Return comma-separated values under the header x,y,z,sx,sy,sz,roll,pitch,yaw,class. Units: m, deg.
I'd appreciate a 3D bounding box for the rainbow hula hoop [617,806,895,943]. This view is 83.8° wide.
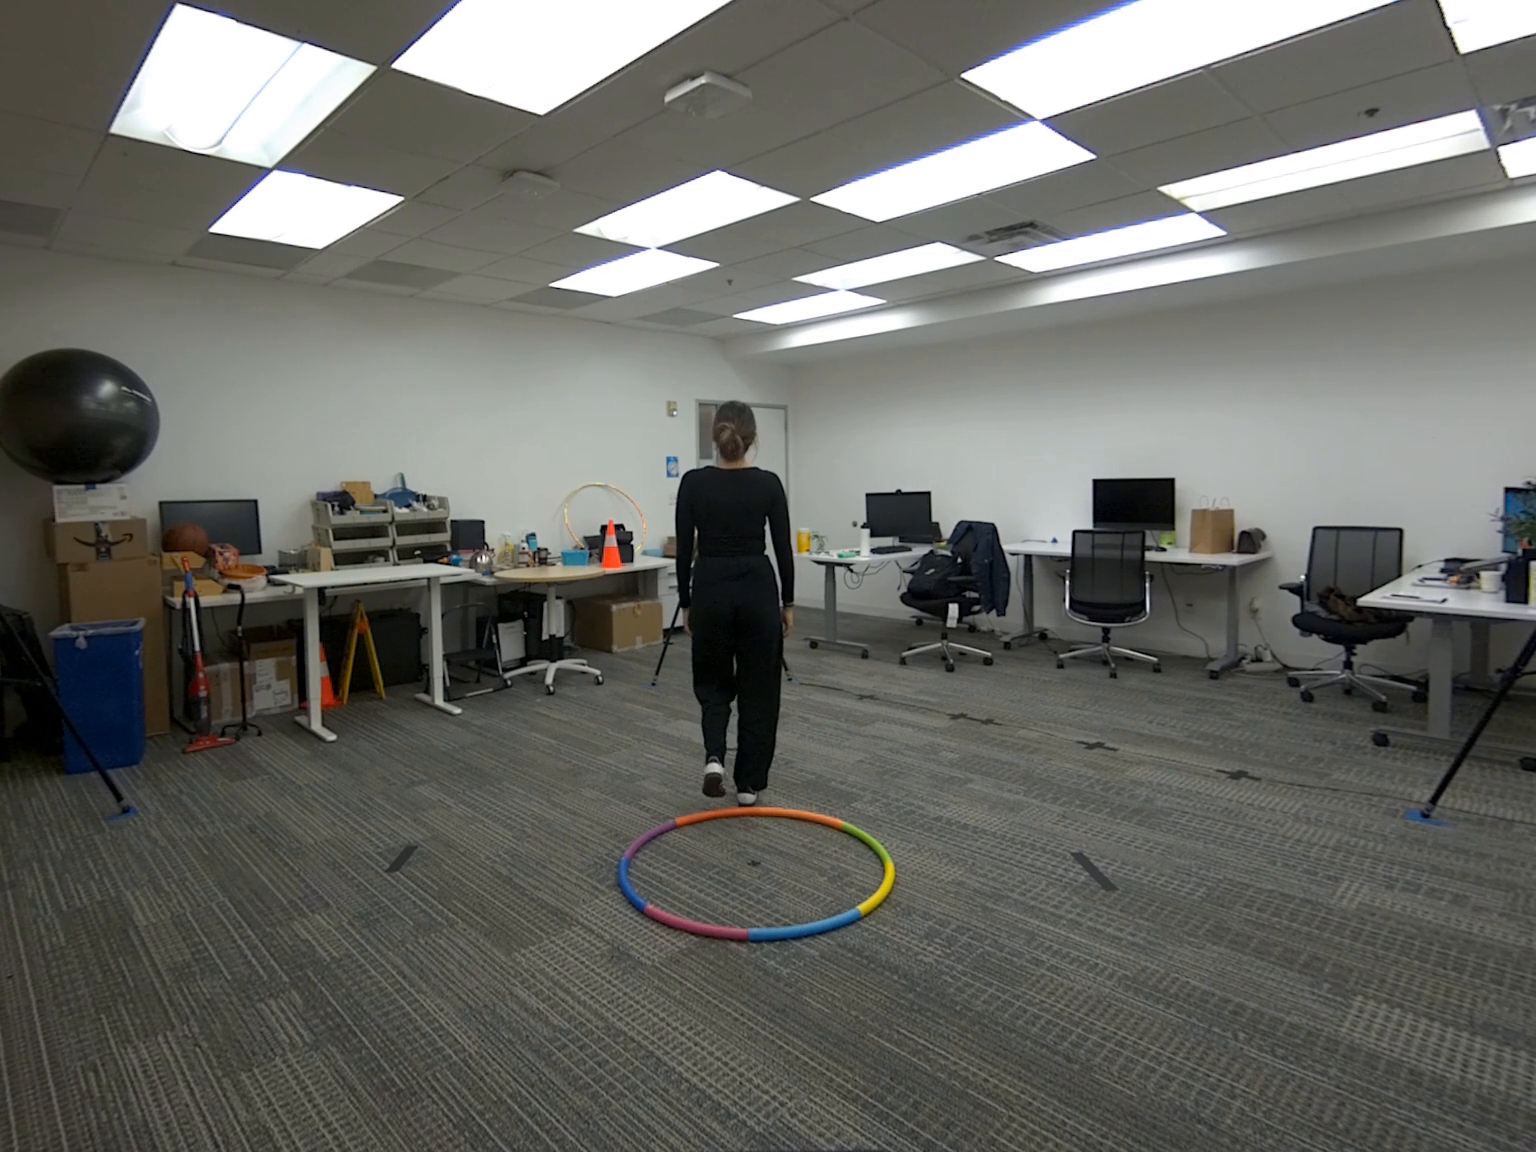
x,y,z,sx,sy,sz,roll,pitch,yaw,class
-0.042,1.018,3.060,0.978,0.035,0.984,-1,7,-2,rainbow hula hoop
